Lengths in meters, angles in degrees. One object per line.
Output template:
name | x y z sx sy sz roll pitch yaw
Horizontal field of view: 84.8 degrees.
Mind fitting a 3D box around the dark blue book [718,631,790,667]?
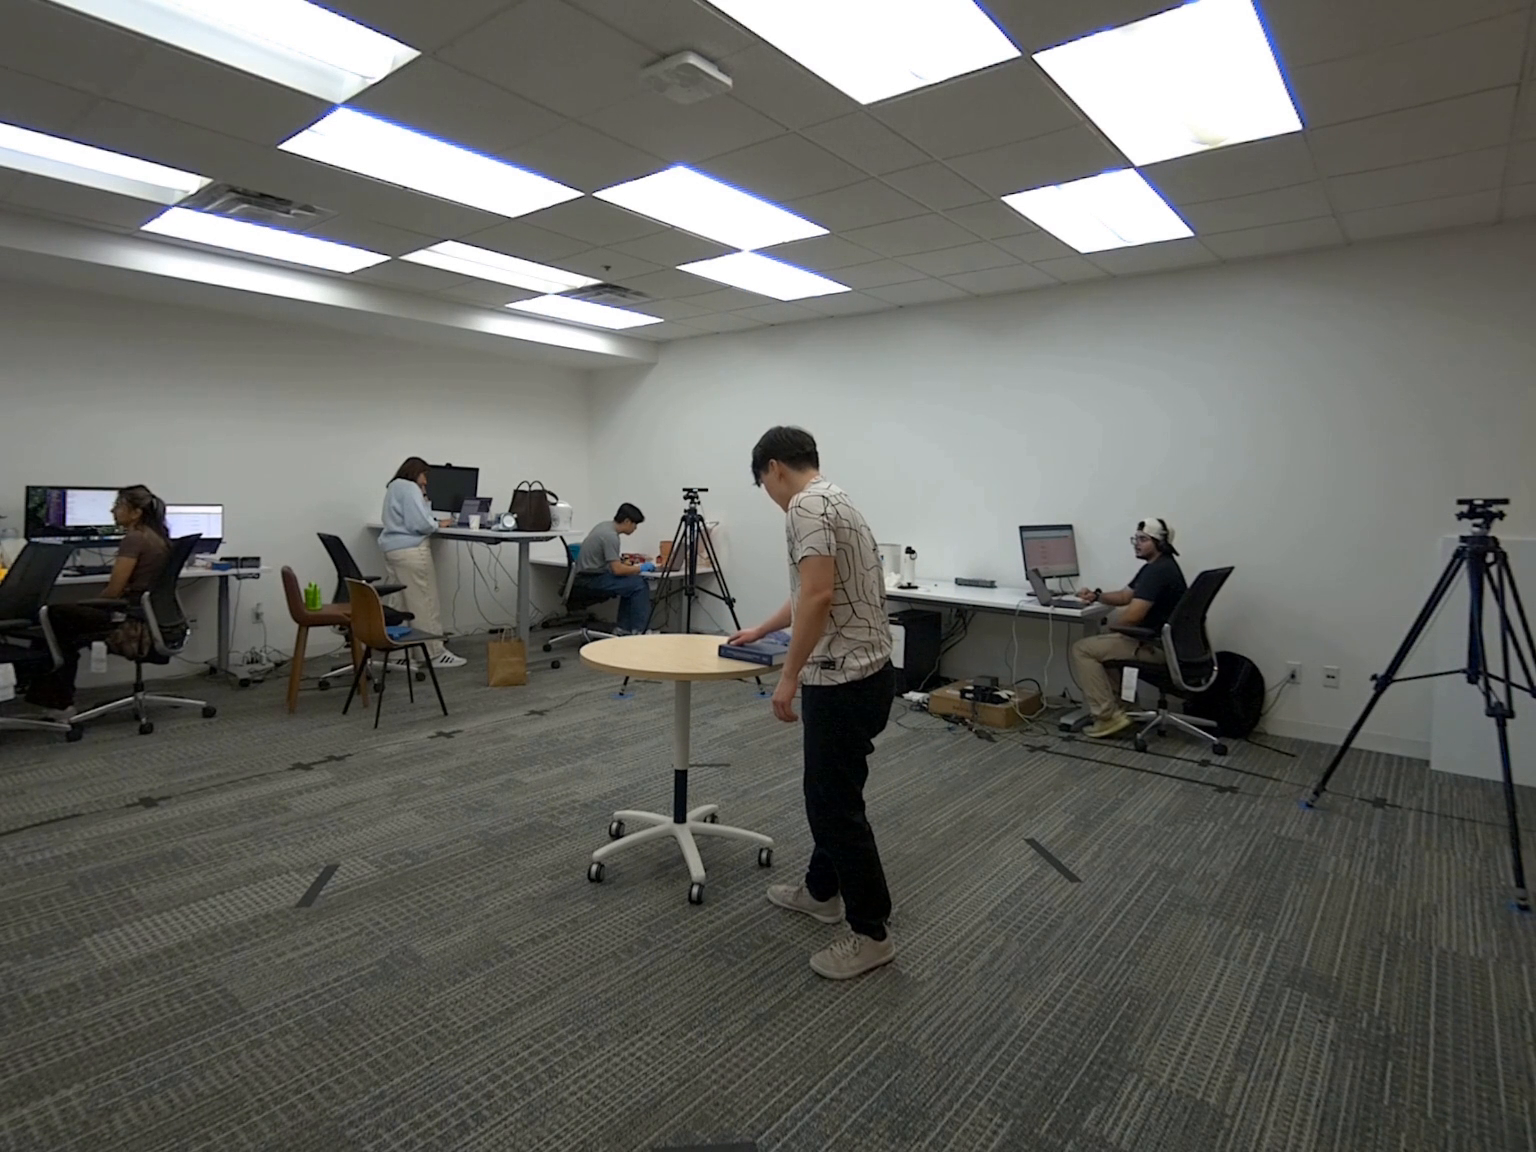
dark blue book | -0.041 0.274 3.057 0.253 0.045 0.158 5 6 37
